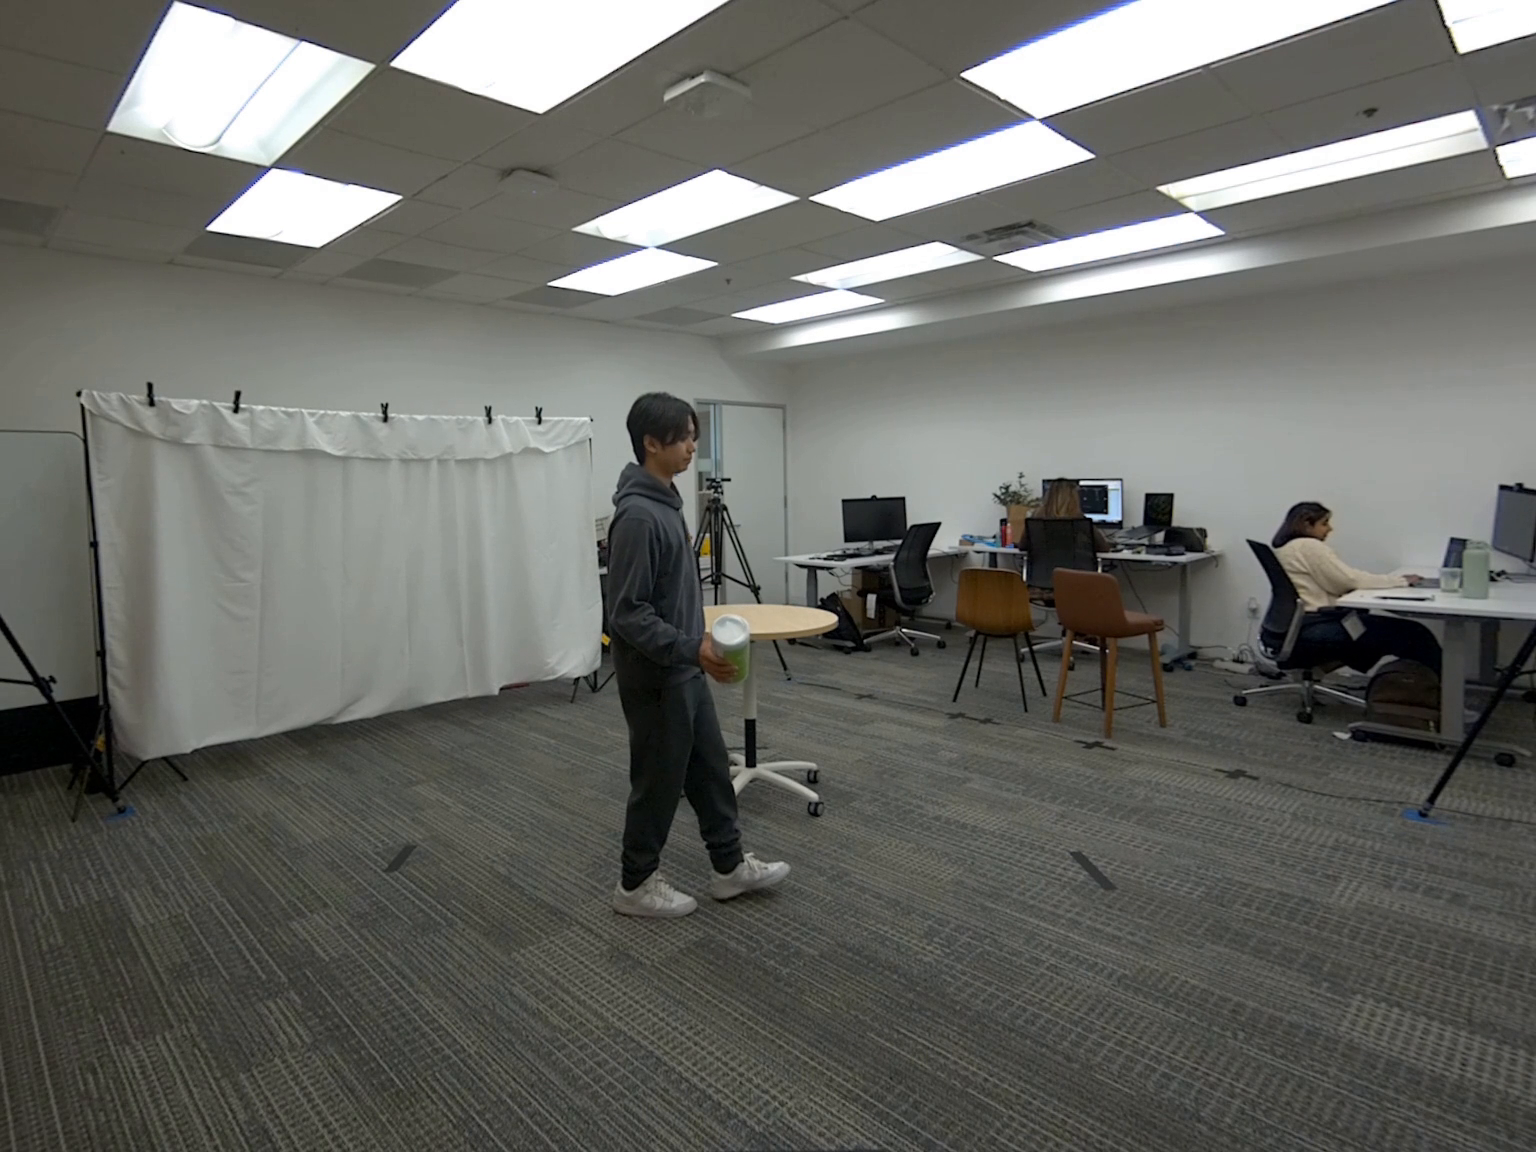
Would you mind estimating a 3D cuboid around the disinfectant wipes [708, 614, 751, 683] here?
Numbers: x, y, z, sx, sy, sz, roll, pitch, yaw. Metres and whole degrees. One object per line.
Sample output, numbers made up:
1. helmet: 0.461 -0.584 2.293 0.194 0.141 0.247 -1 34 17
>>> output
1. disinfectant wipes: -0.102 0.207 2.425 0.117 0.121 0.212 -1 -40 -2
